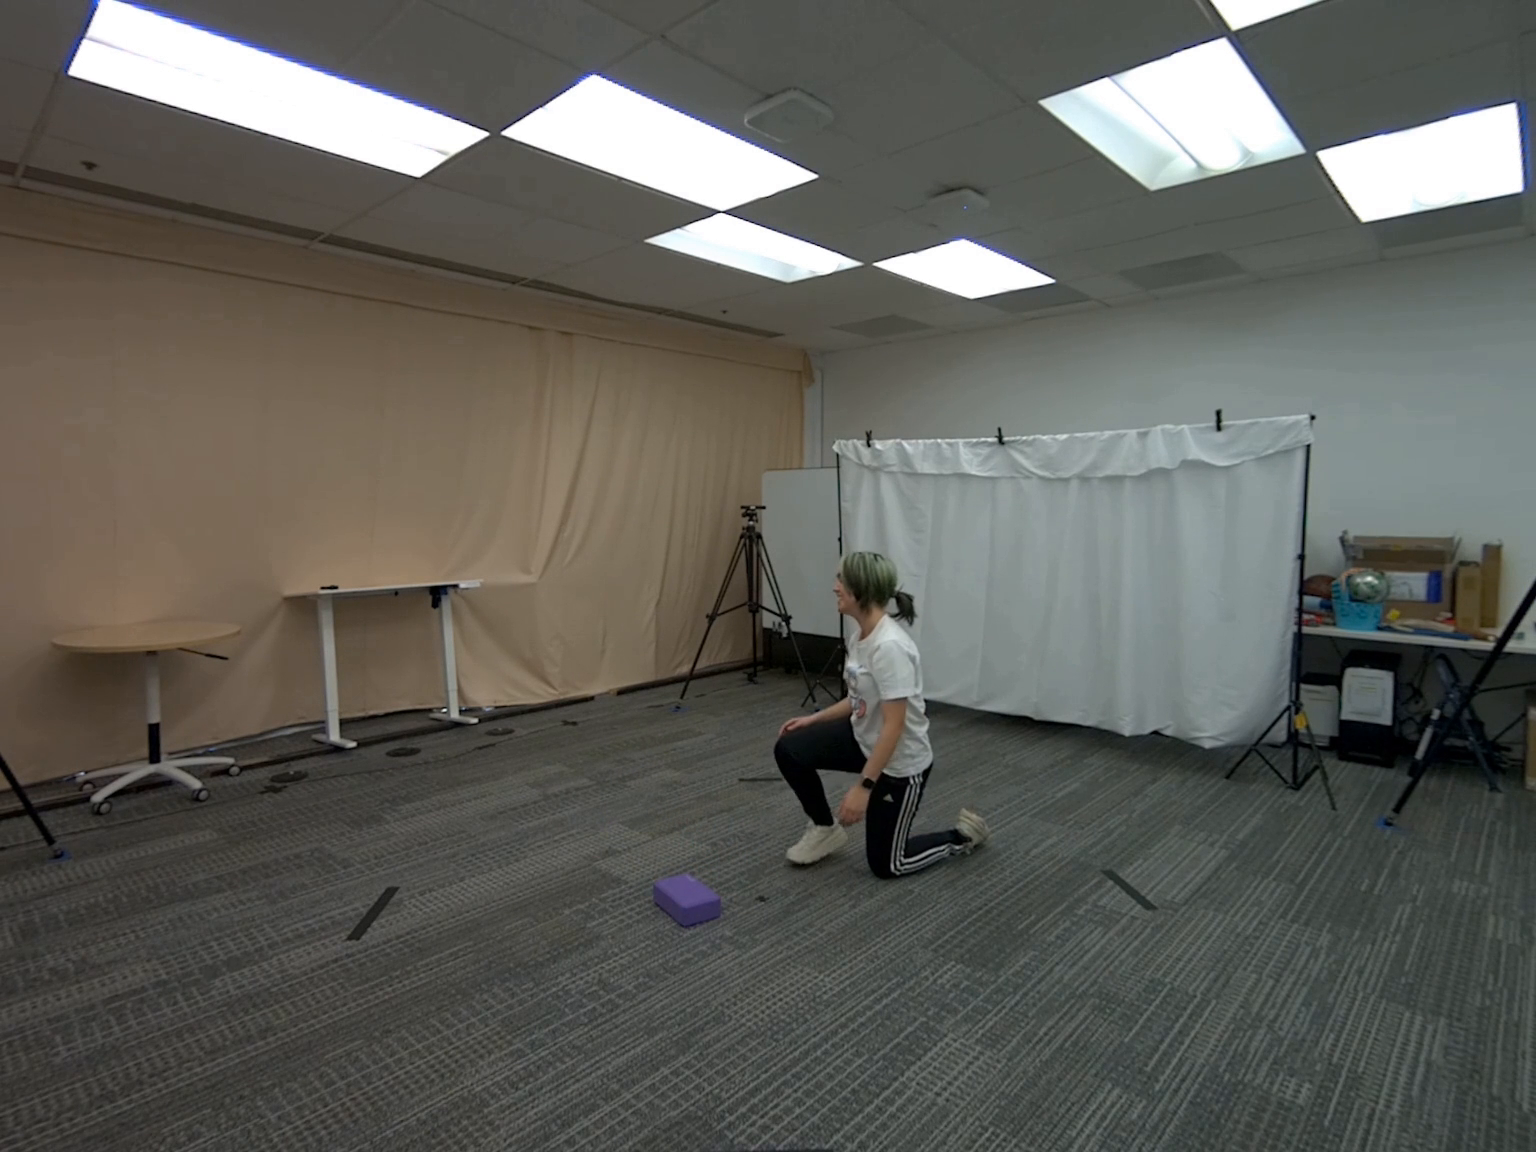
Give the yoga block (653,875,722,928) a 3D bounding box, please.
[{"bbox_3d":[-0.280,1.112,2.904,0.145,0.076,0.236,-4,7,-33],"label":"yoga block"}]
